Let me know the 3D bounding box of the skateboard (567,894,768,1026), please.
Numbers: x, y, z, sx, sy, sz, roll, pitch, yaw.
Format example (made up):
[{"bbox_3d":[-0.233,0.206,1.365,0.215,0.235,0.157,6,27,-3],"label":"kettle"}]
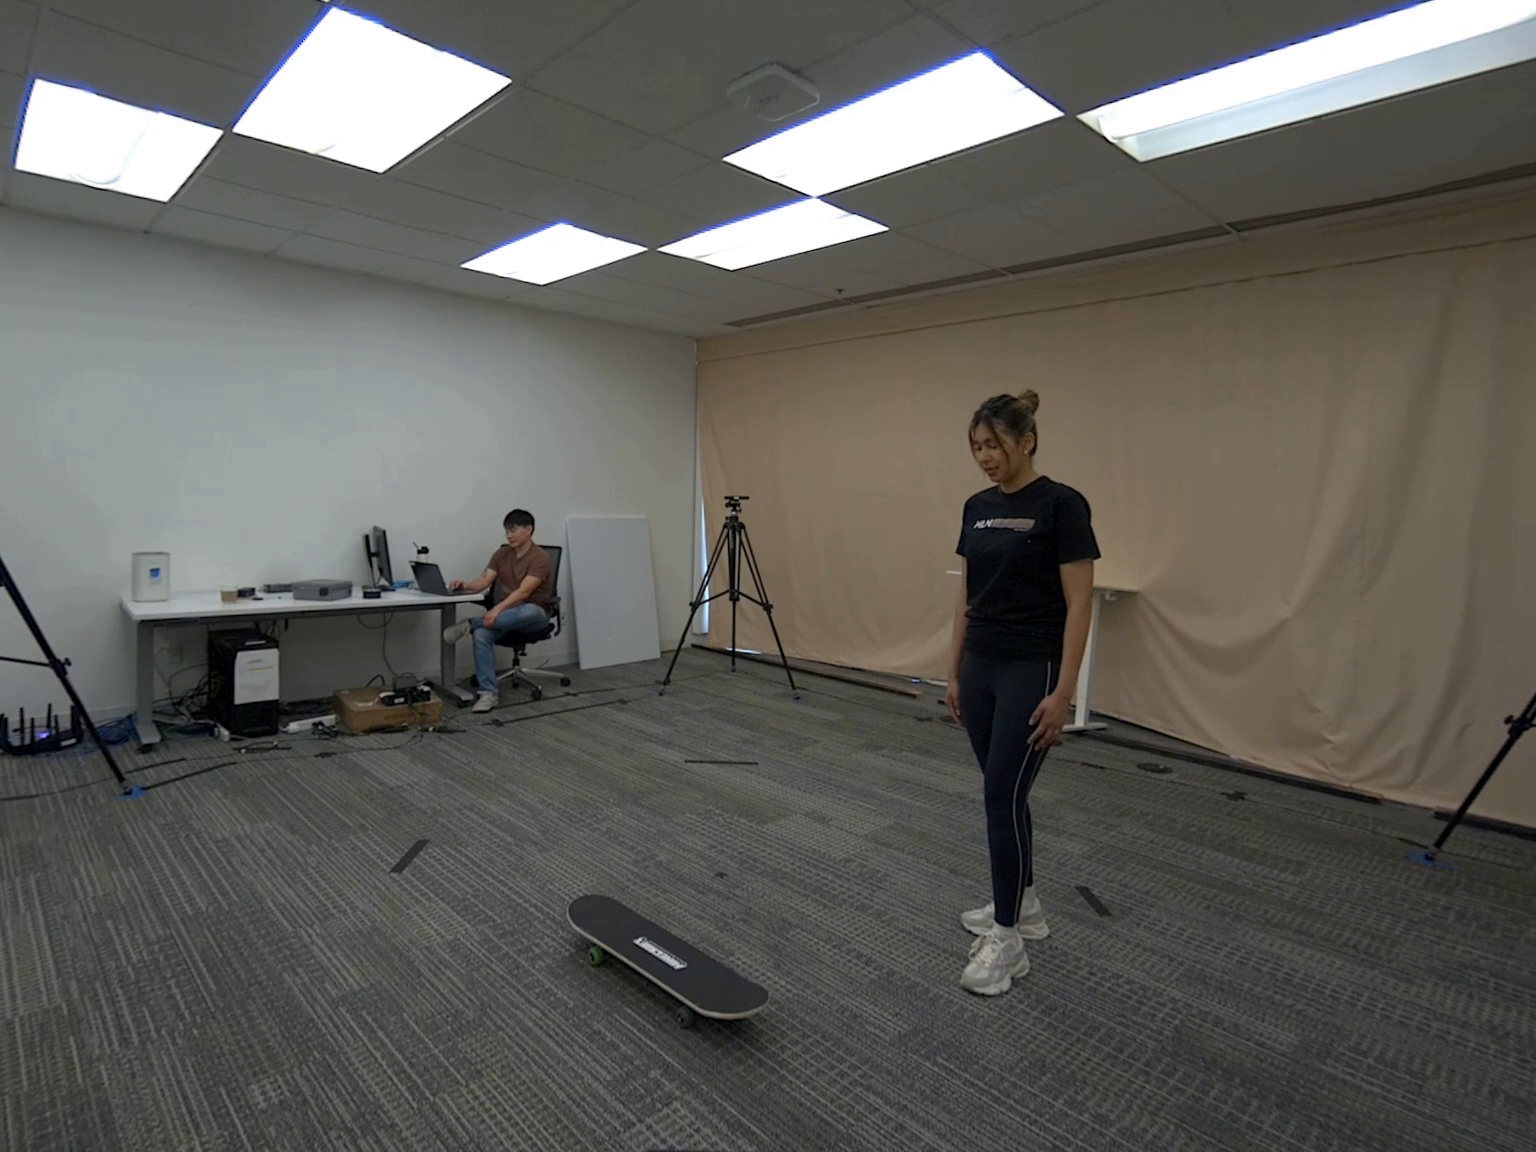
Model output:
[{"bbox_3d":[-0.316,1.112,2.401,0.805,0.110,0.189,5,5,43],"label":"skateboard"}]
